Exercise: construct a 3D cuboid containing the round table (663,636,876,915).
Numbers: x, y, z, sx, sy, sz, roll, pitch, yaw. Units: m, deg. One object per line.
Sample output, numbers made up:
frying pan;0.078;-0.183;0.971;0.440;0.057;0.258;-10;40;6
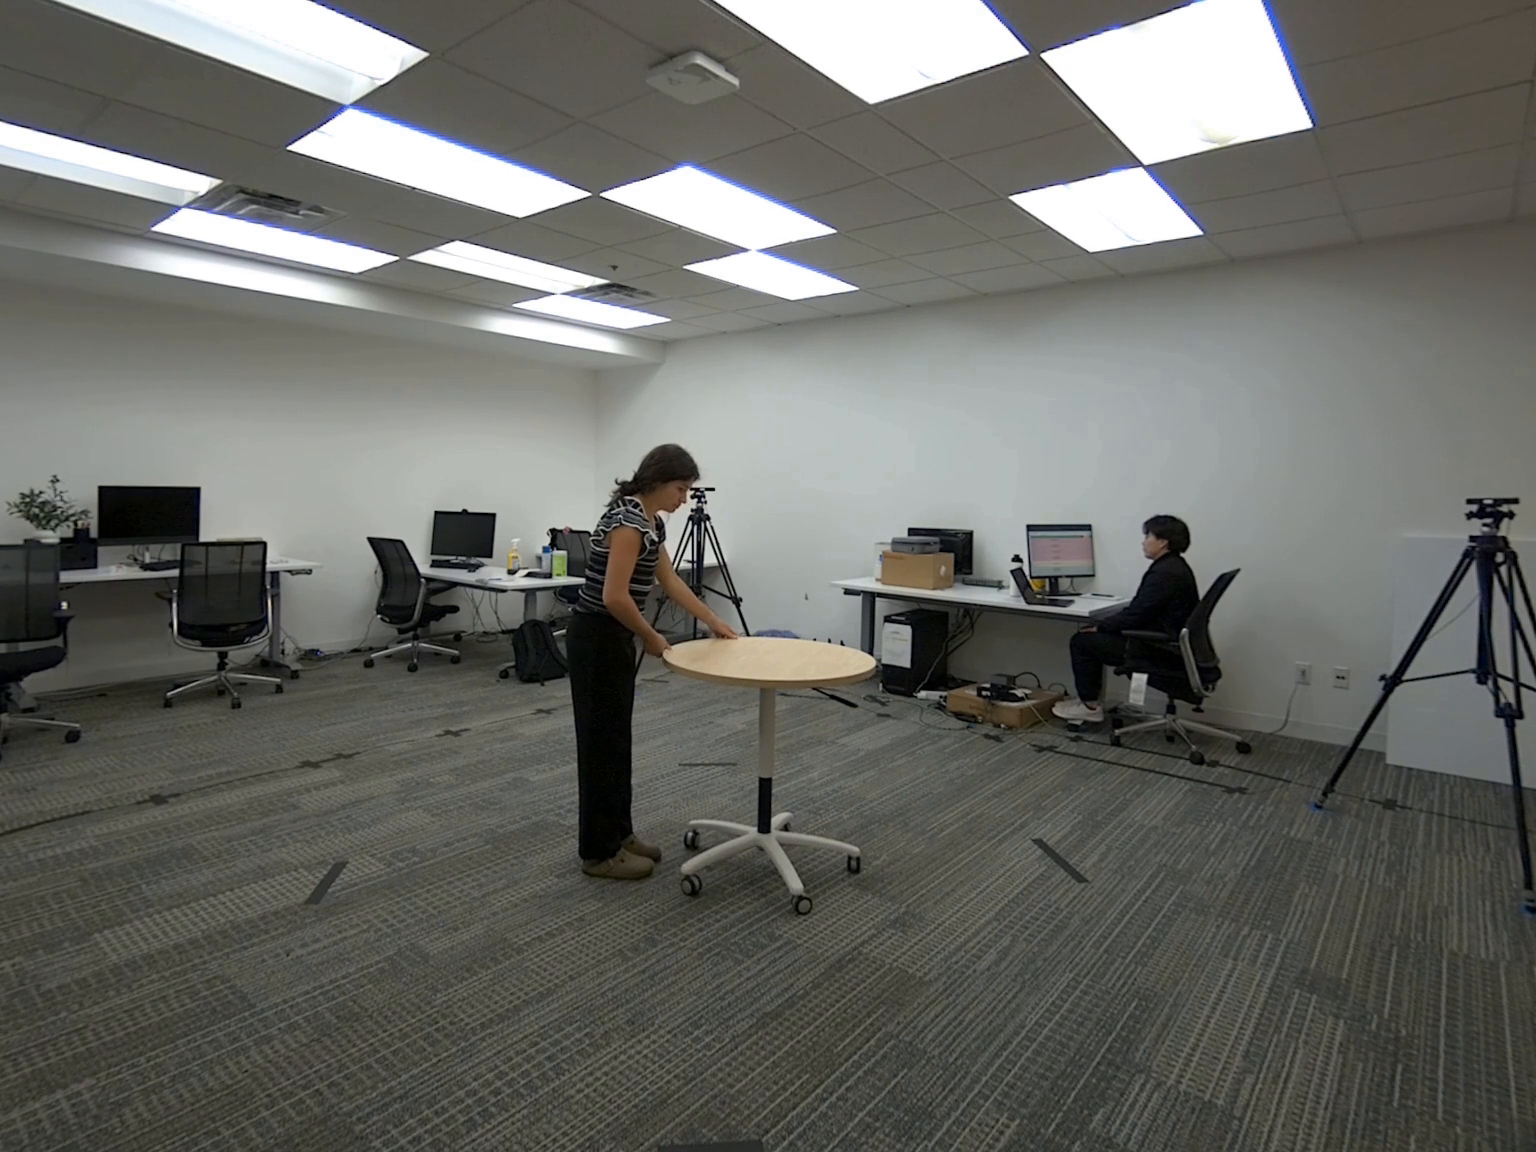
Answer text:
round table;-0.026;0.678;3.087;0.784;0.784;0.789;2;4;-2
